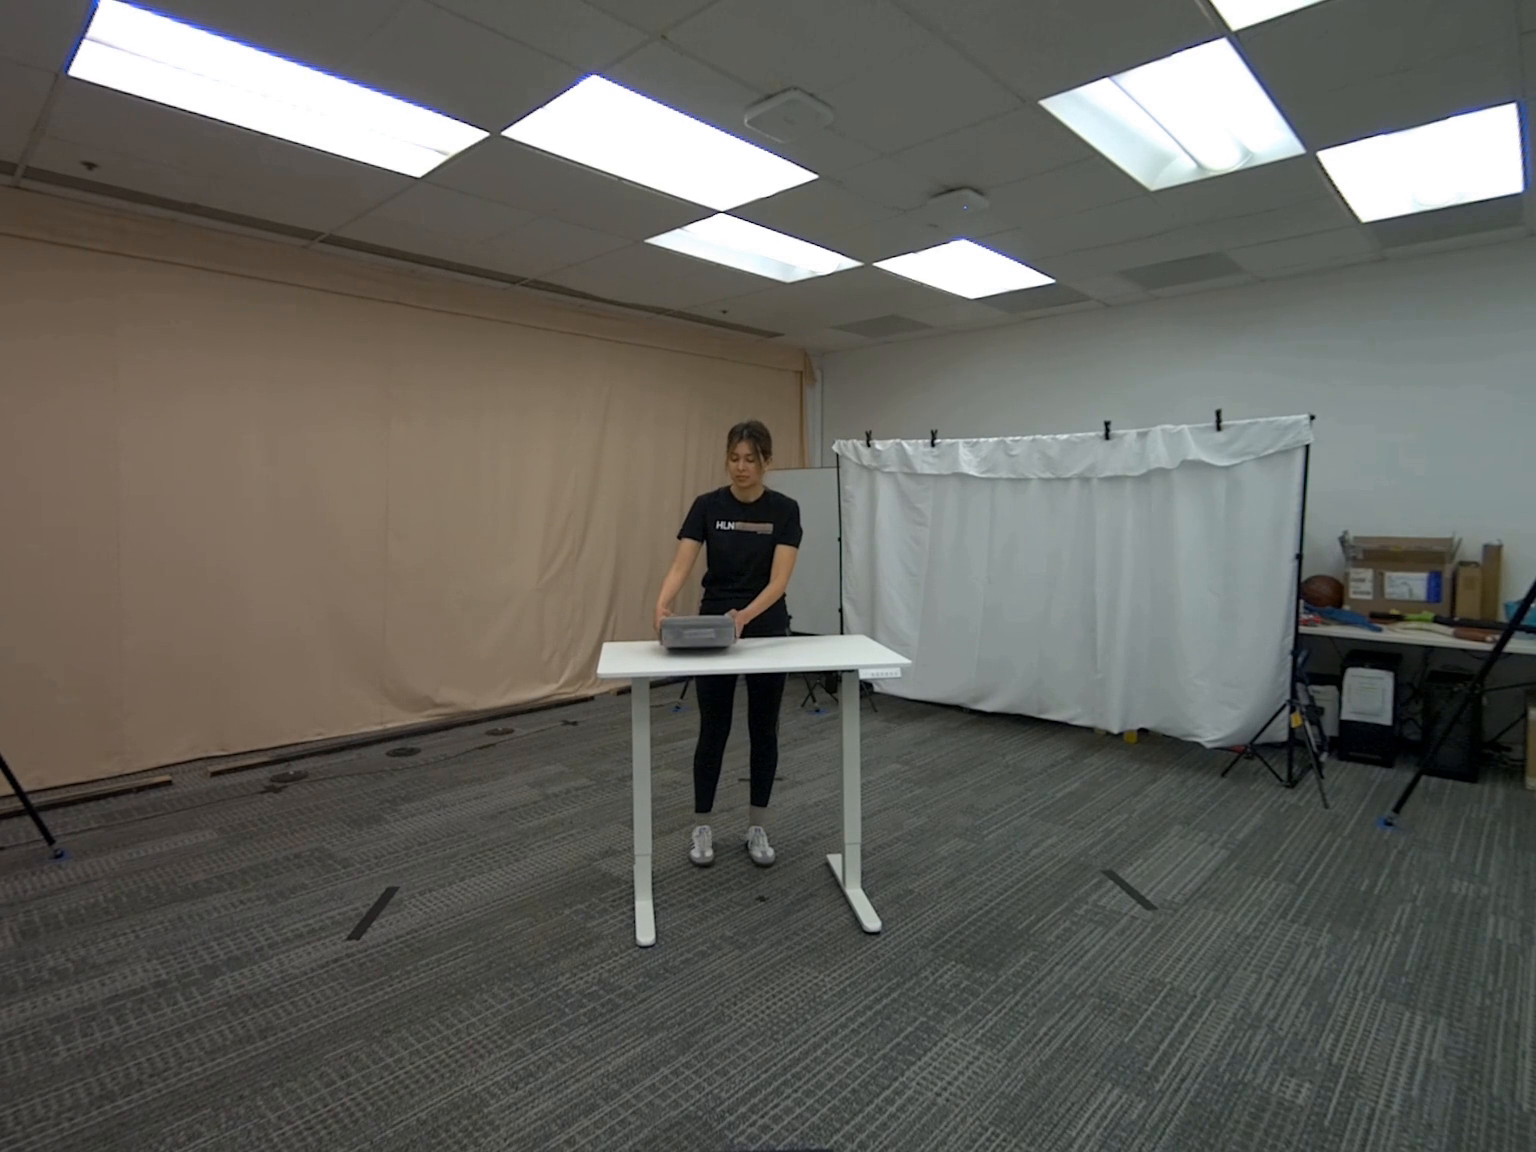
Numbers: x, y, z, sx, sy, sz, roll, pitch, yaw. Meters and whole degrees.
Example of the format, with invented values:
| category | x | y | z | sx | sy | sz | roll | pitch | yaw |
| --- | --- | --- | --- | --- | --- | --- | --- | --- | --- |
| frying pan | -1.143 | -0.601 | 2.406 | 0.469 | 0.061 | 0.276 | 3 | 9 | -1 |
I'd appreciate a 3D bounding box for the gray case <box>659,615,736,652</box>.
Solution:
| category | x | y | z | sx | sy | sz | roll | pitch | yaw |
| --- | --- | --- | --- | --- | --- | --- | --- | --- | --- |
| gray case | -0.244 | 0.197 | 2.948 | 0.255 | 0.105 | 0.261 | -1 | -4 | -6 |
